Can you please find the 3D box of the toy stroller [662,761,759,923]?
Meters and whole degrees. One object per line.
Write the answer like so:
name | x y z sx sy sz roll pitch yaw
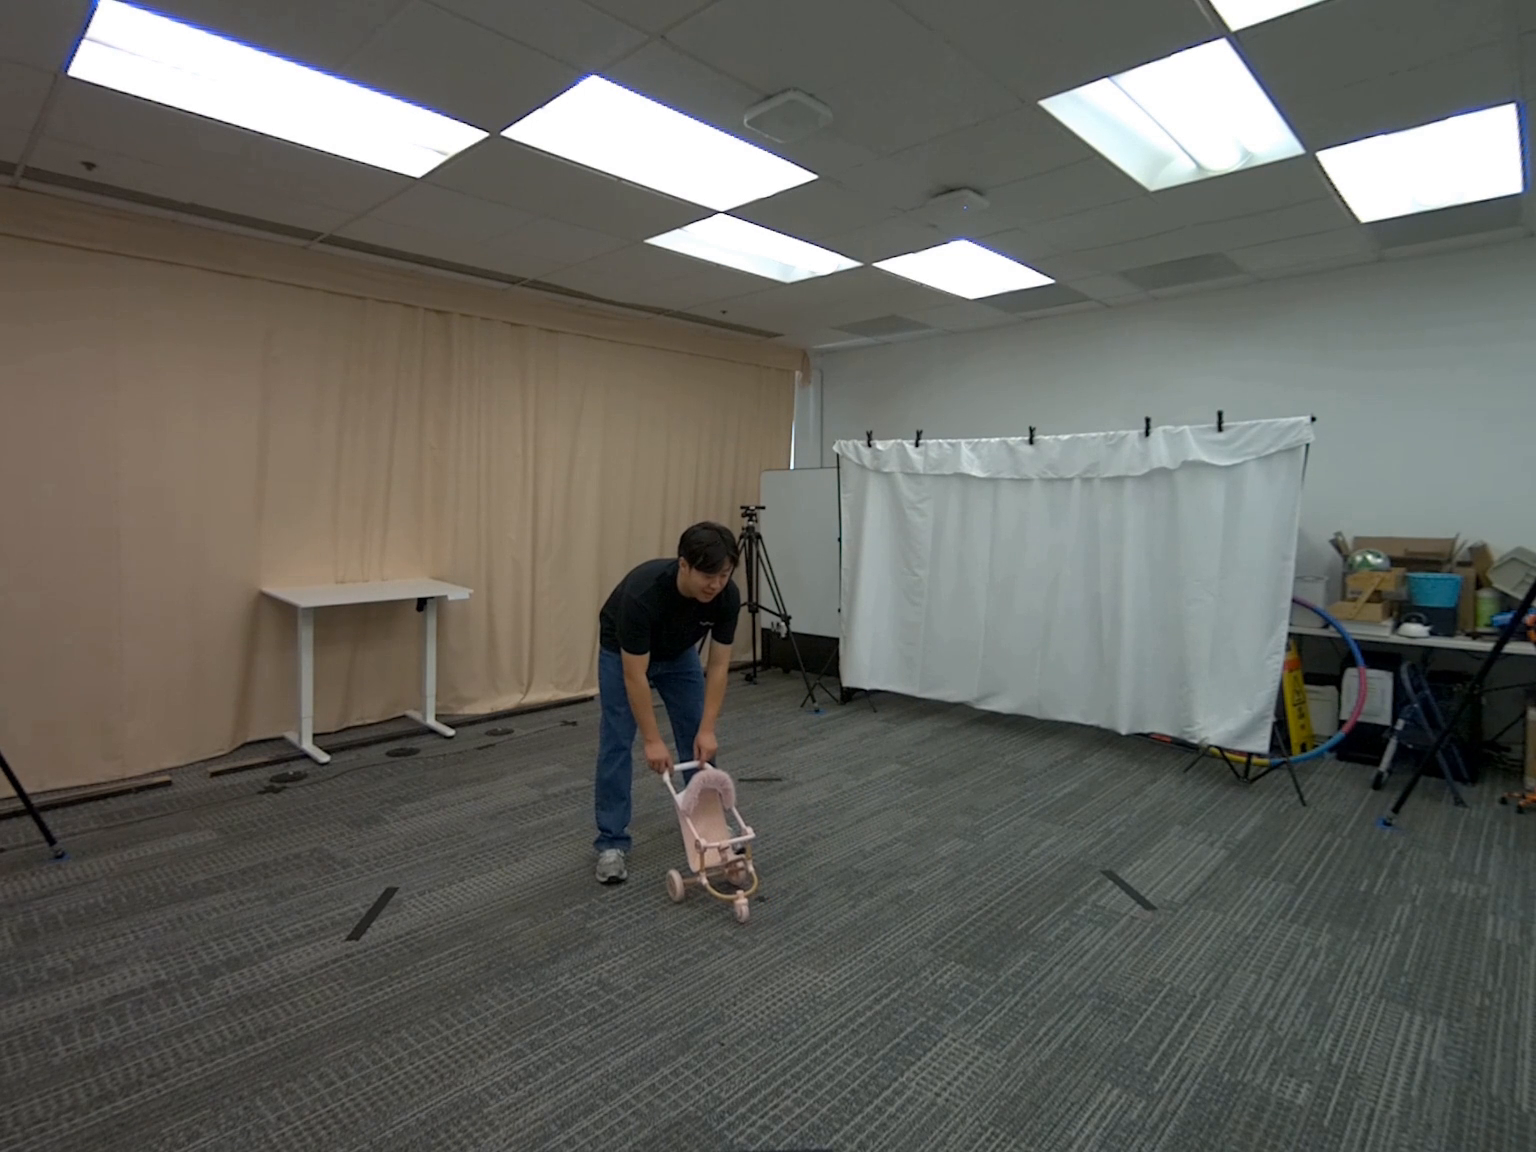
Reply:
toy stroller | -0.189 0.922 2.969 0.274 0.540 0.347 -2 -13 -27
